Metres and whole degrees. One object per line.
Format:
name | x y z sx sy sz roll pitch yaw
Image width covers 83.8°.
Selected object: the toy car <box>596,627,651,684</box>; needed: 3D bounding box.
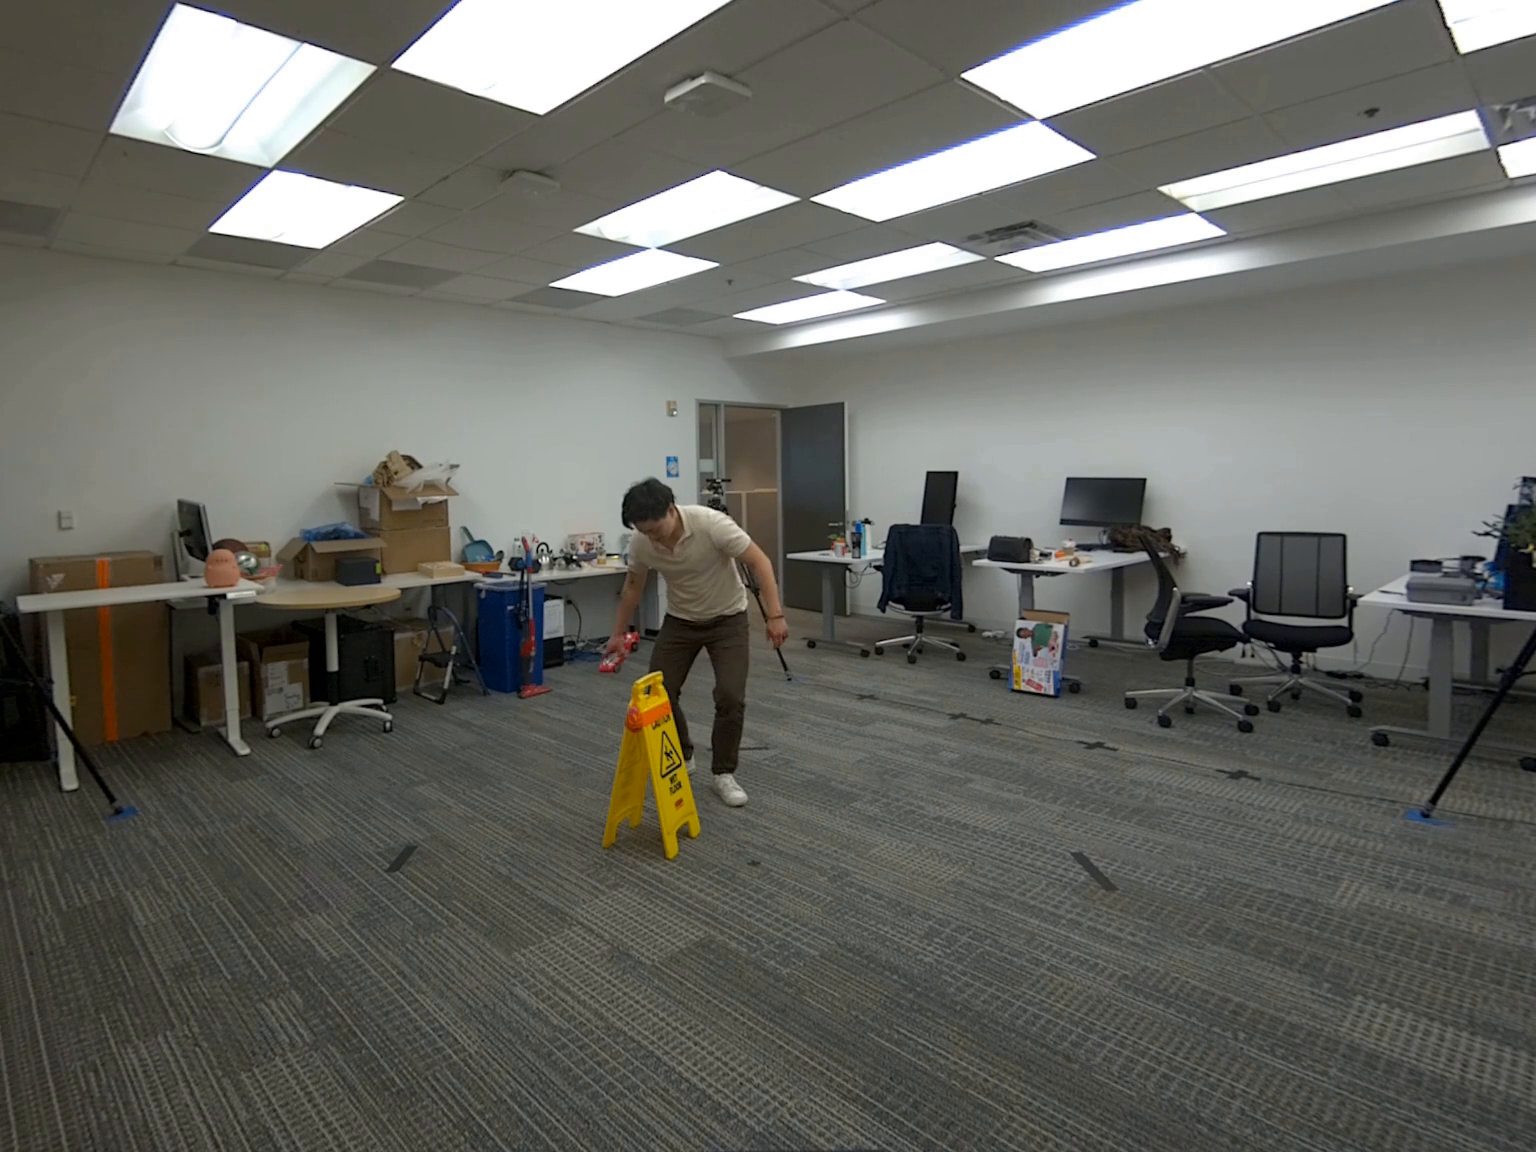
toy car | -0.681 0.370 4.026 0.133 0.257 0.080 -7 -45 40
